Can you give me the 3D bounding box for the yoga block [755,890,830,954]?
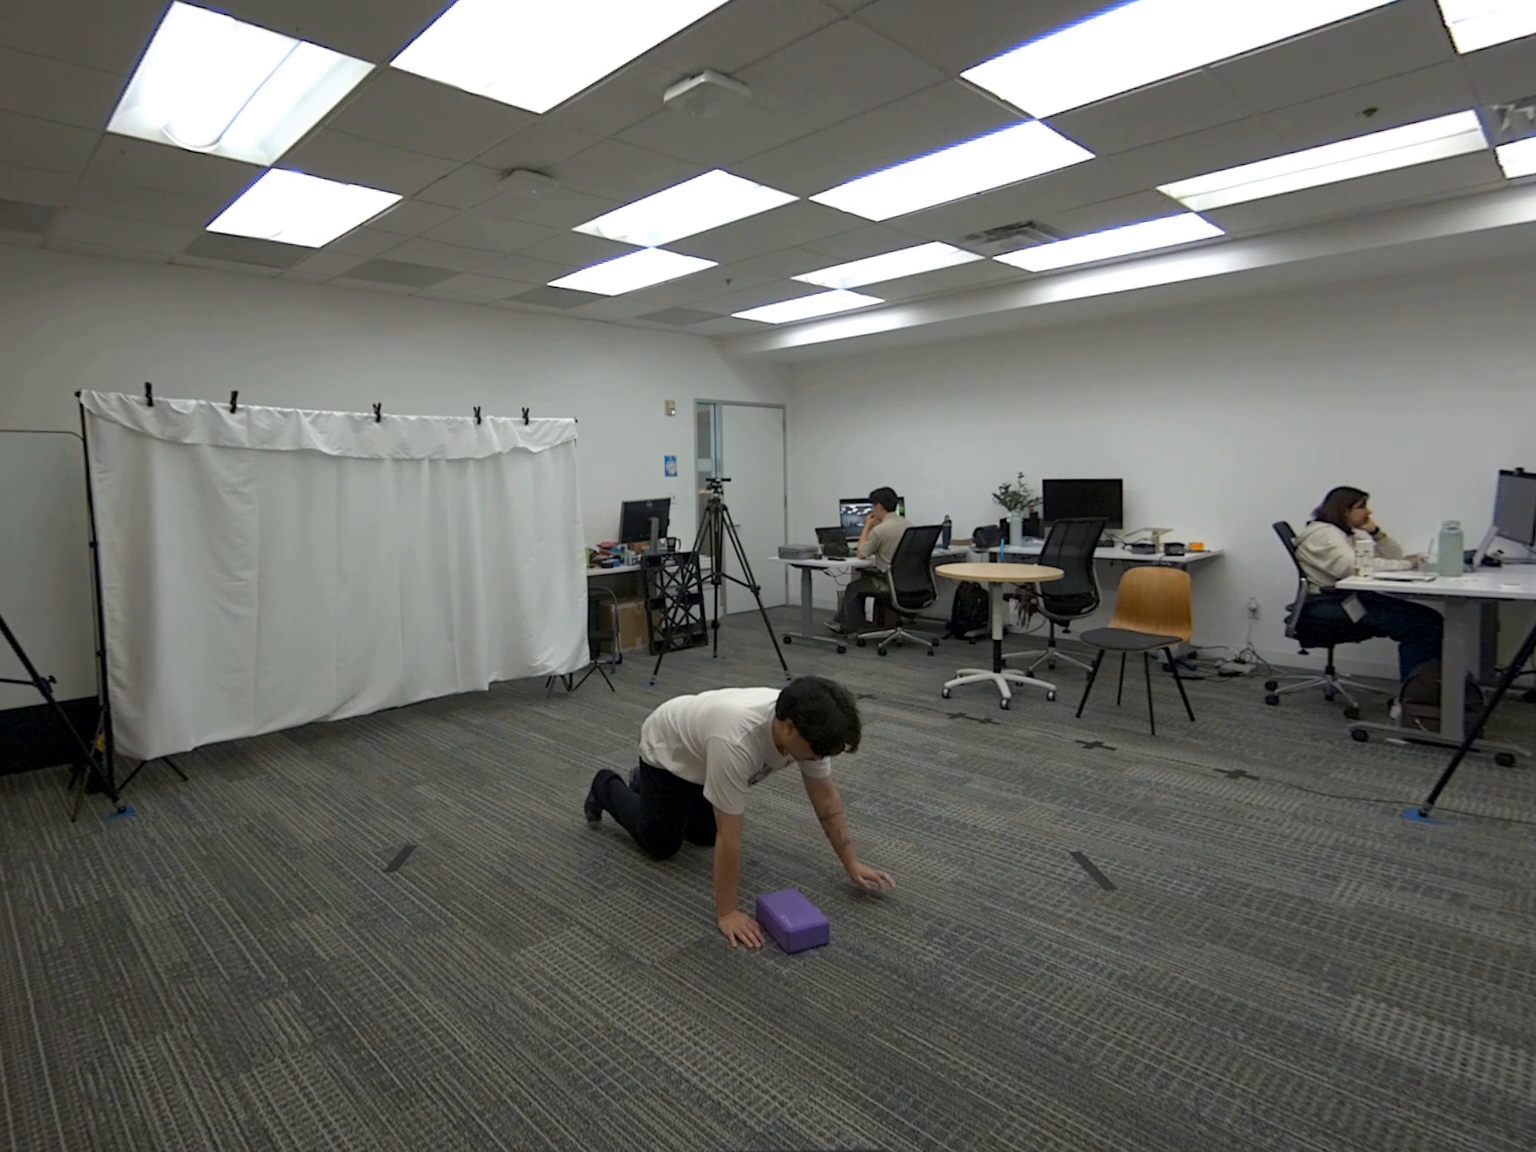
[{"bbox_3d":[0.076,1.055,2.630,0.146,0.076,0.235,-4,7,-24],"label":"yoga block"}]
